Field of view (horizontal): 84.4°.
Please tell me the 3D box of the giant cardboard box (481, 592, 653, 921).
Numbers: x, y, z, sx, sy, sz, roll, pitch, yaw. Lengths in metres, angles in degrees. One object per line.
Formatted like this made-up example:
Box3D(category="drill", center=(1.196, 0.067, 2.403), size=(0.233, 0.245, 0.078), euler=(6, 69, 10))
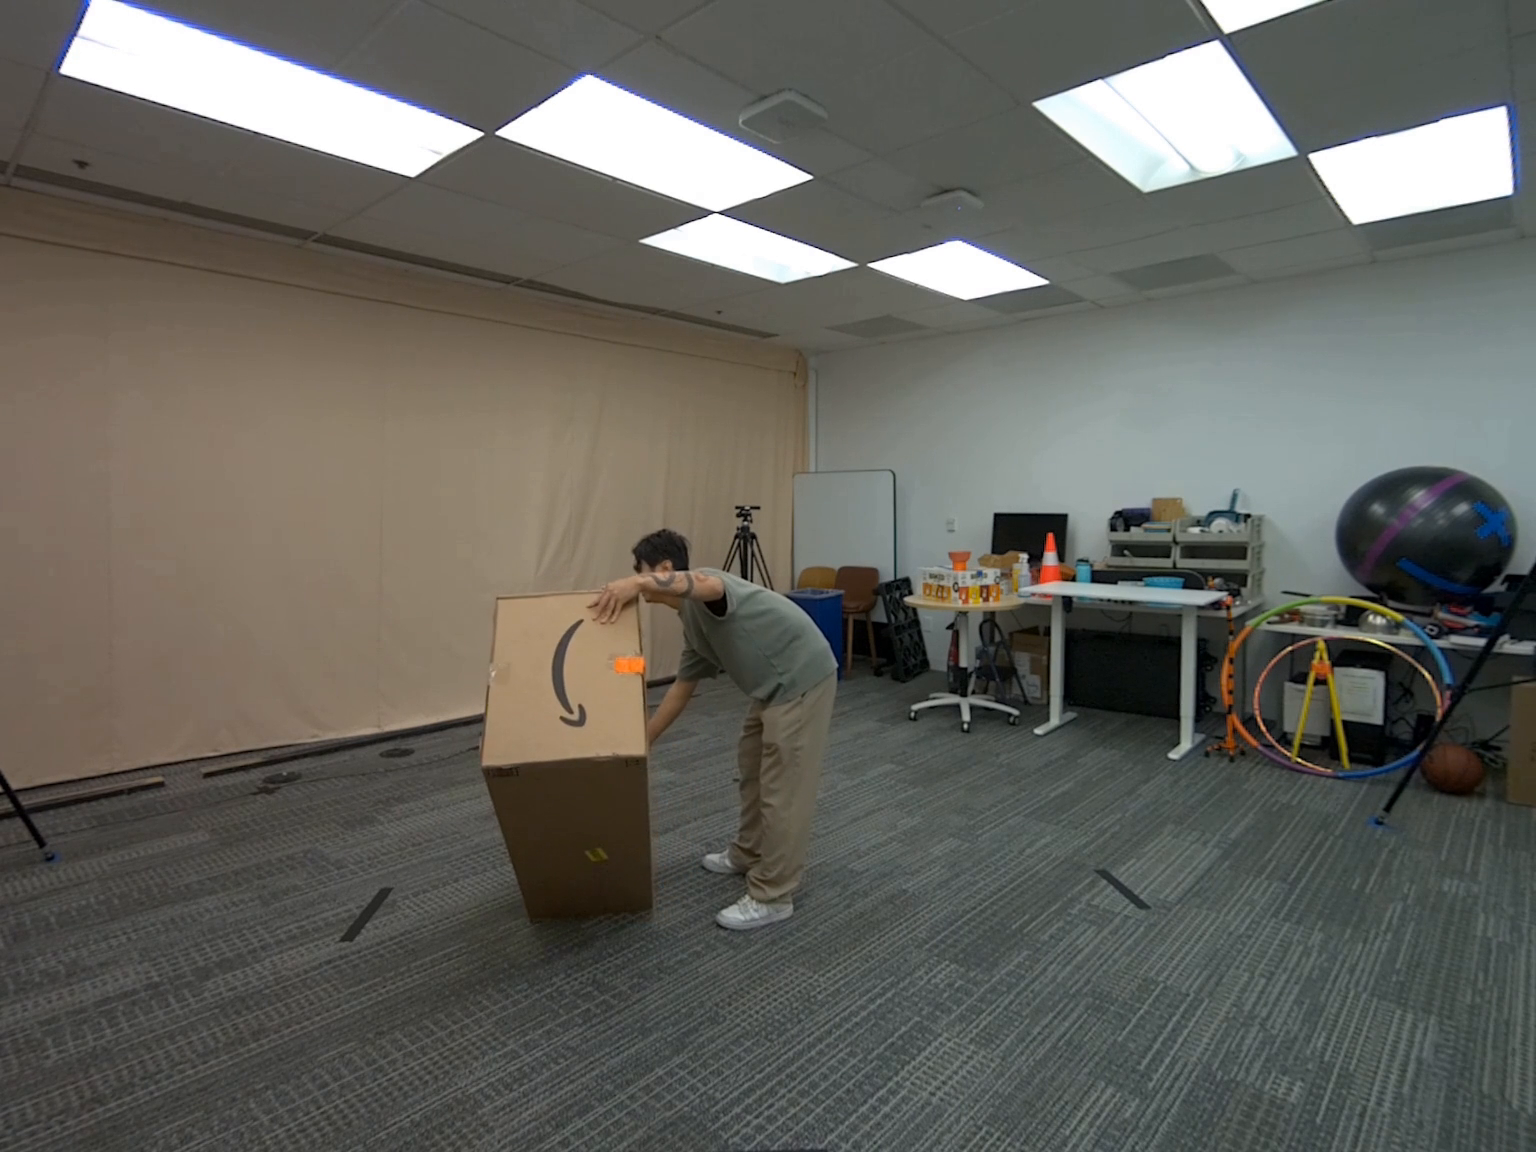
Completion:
Box3D(category="giant cardboard box", center=(-0.604, 0.611, 2.687), size=(0.423, 1.009, 0.591), euler=(-3, 47, -9))
